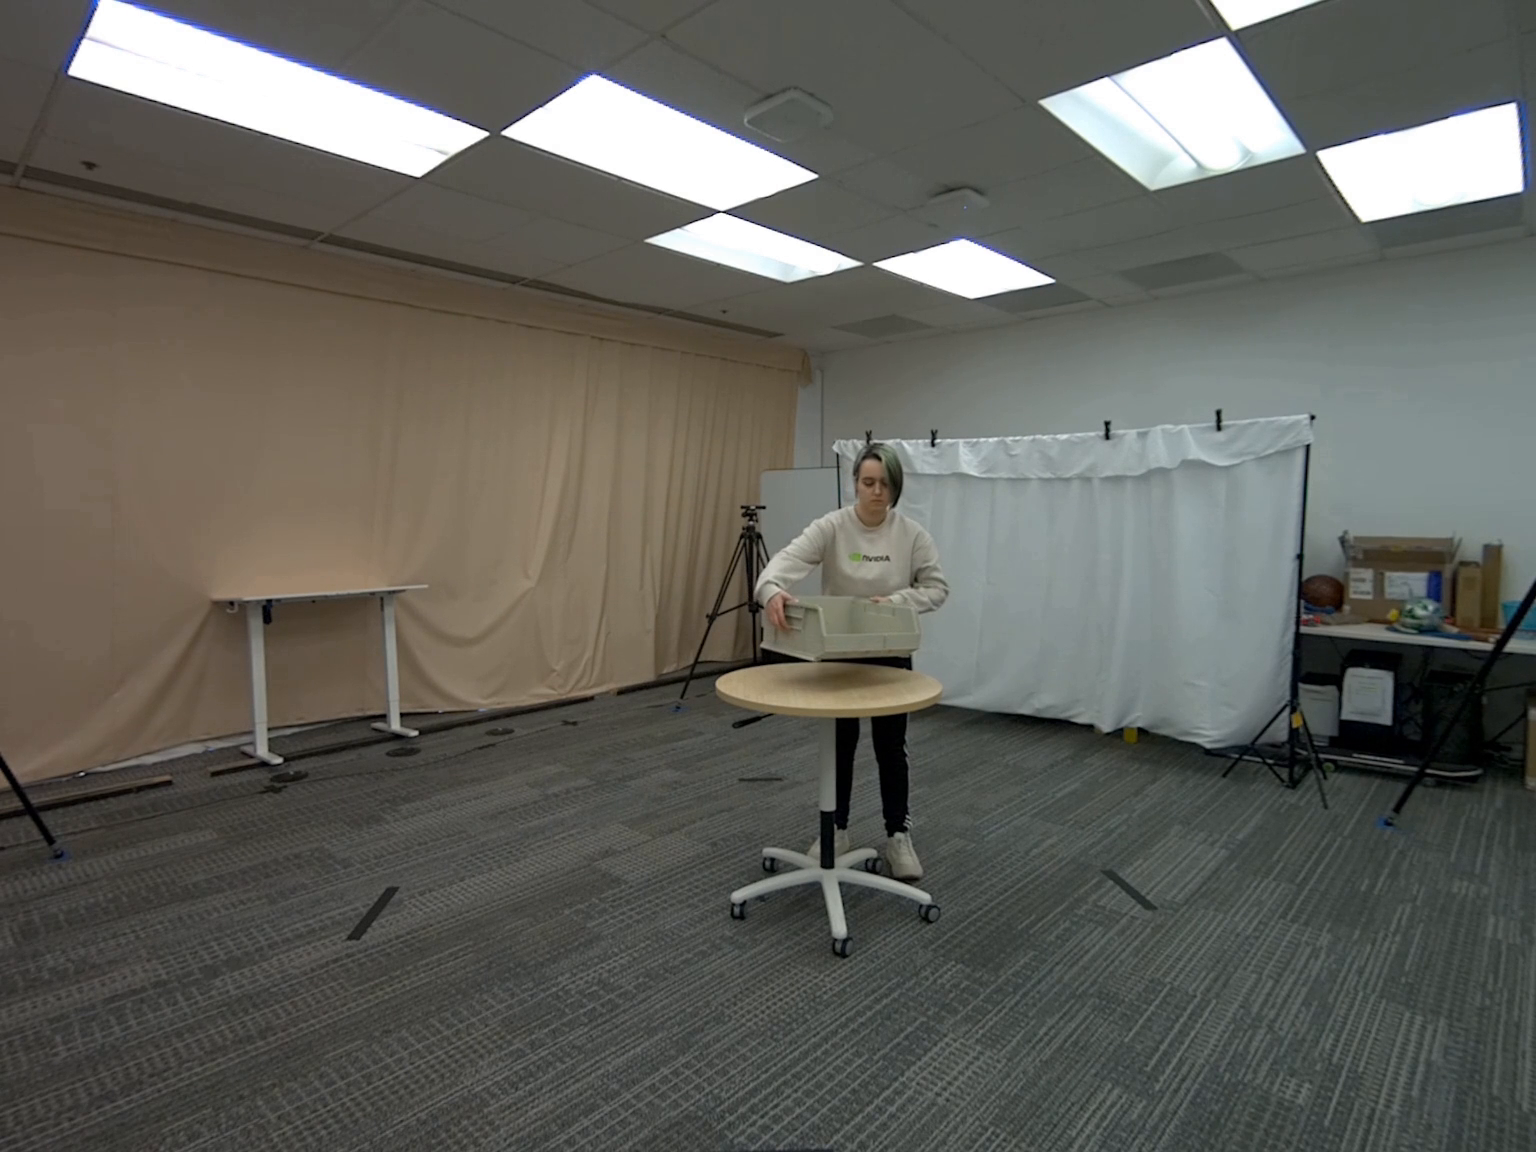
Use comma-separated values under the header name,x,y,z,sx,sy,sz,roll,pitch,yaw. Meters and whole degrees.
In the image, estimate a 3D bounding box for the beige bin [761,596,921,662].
name,x,y,z,sx,sy,sz,roll,pitch,yaw
beige bin,0.234,0.175,2.885,0.411,0.189,0.388,2,1,-29
